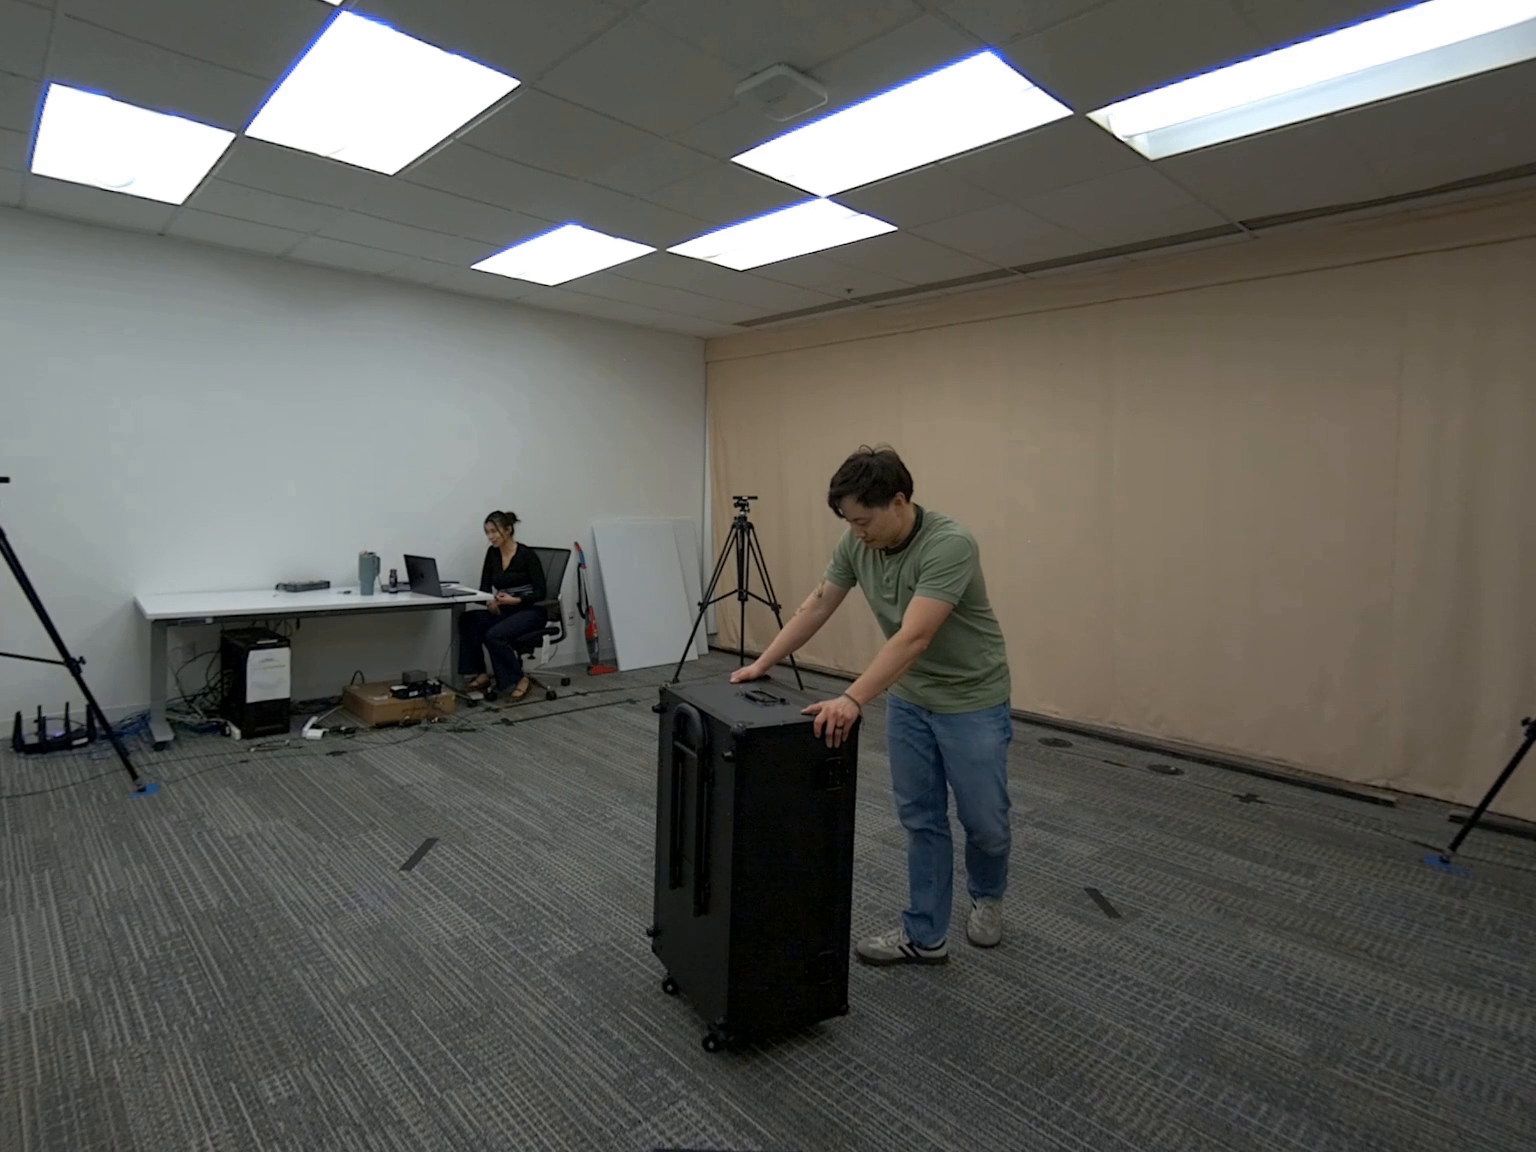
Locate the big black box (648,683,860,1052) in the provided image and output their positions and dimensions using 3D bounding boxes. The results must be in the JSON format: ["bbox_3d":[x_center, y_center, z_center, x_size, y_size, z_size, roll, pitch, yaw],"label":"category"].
[{"bbox_3d":[-0.067,0.762,2.258,0.388,0.859,0.533,-1,5,-29],"label":"big black box"}]
